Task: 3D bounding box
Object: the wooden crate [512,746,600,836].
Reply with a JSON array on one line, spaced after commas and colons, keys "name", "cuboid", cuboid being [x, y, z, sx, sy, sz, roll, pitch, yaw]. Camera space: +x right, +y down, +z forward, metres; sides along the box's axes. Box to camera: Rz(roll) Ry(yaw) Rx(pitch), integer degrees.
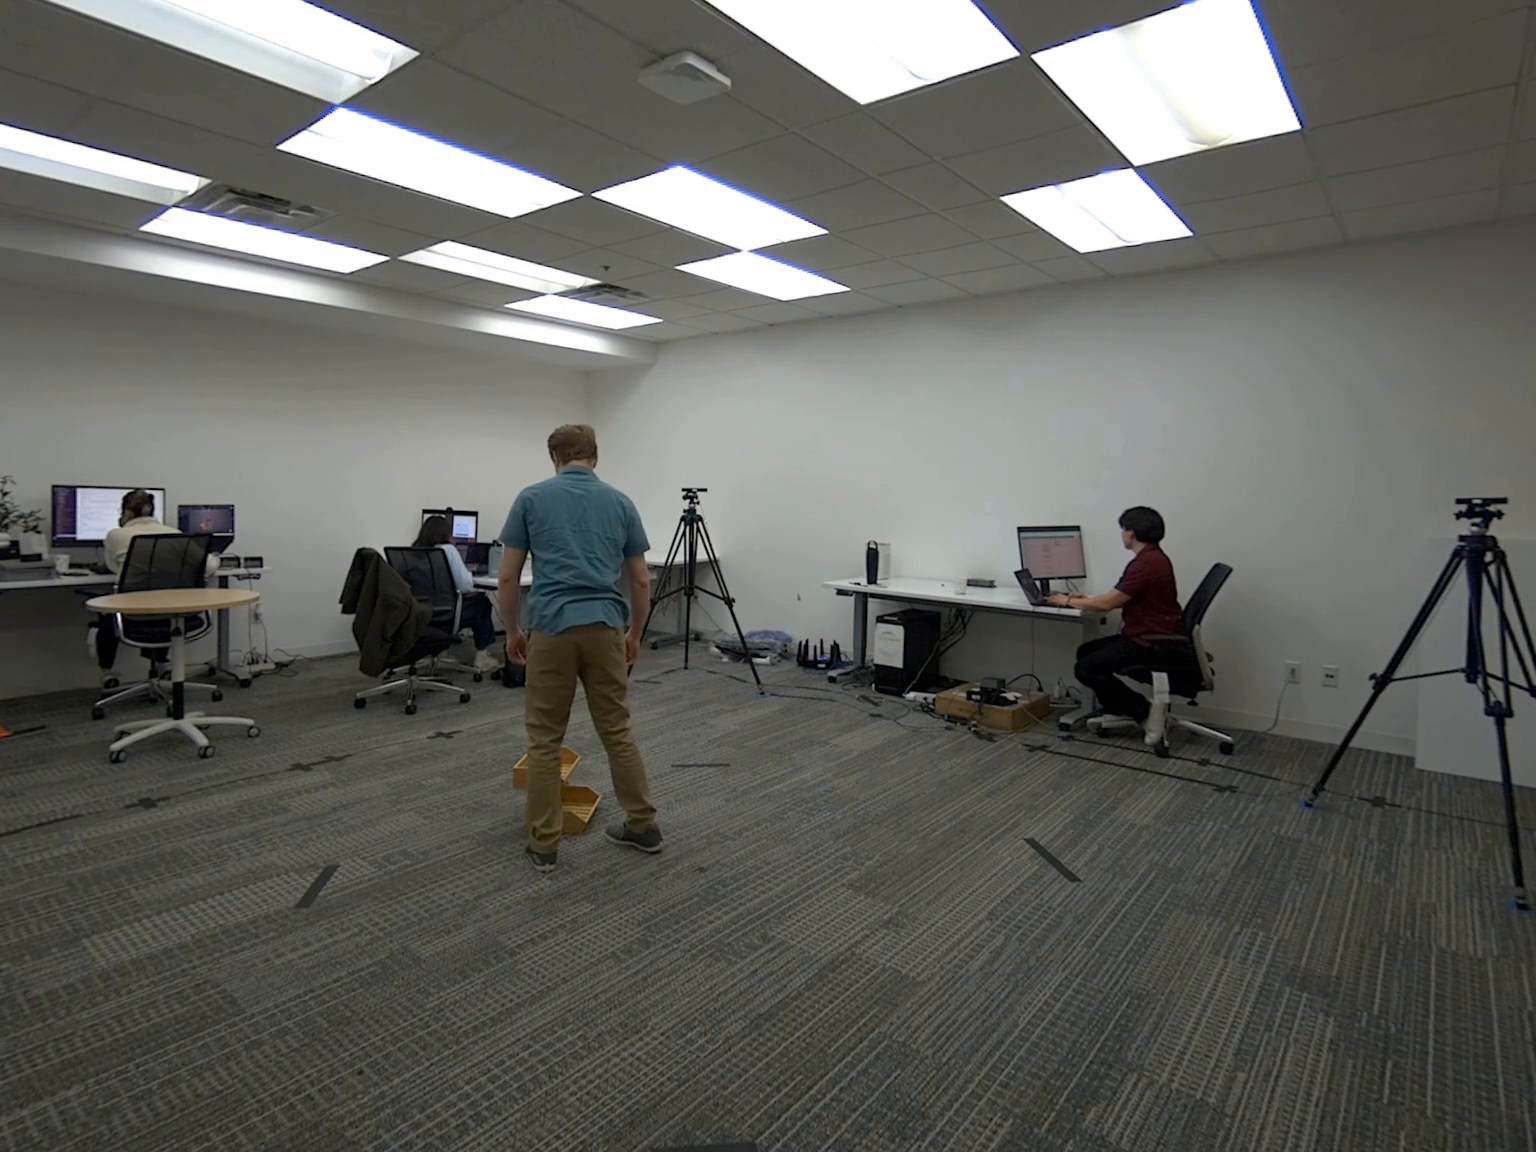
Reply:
[{"name": "wooden crate", "cuboid": [-0.879, 0.878, 3.561, 0.303, 0.272, 0.325, 0, 4, 1]}]
